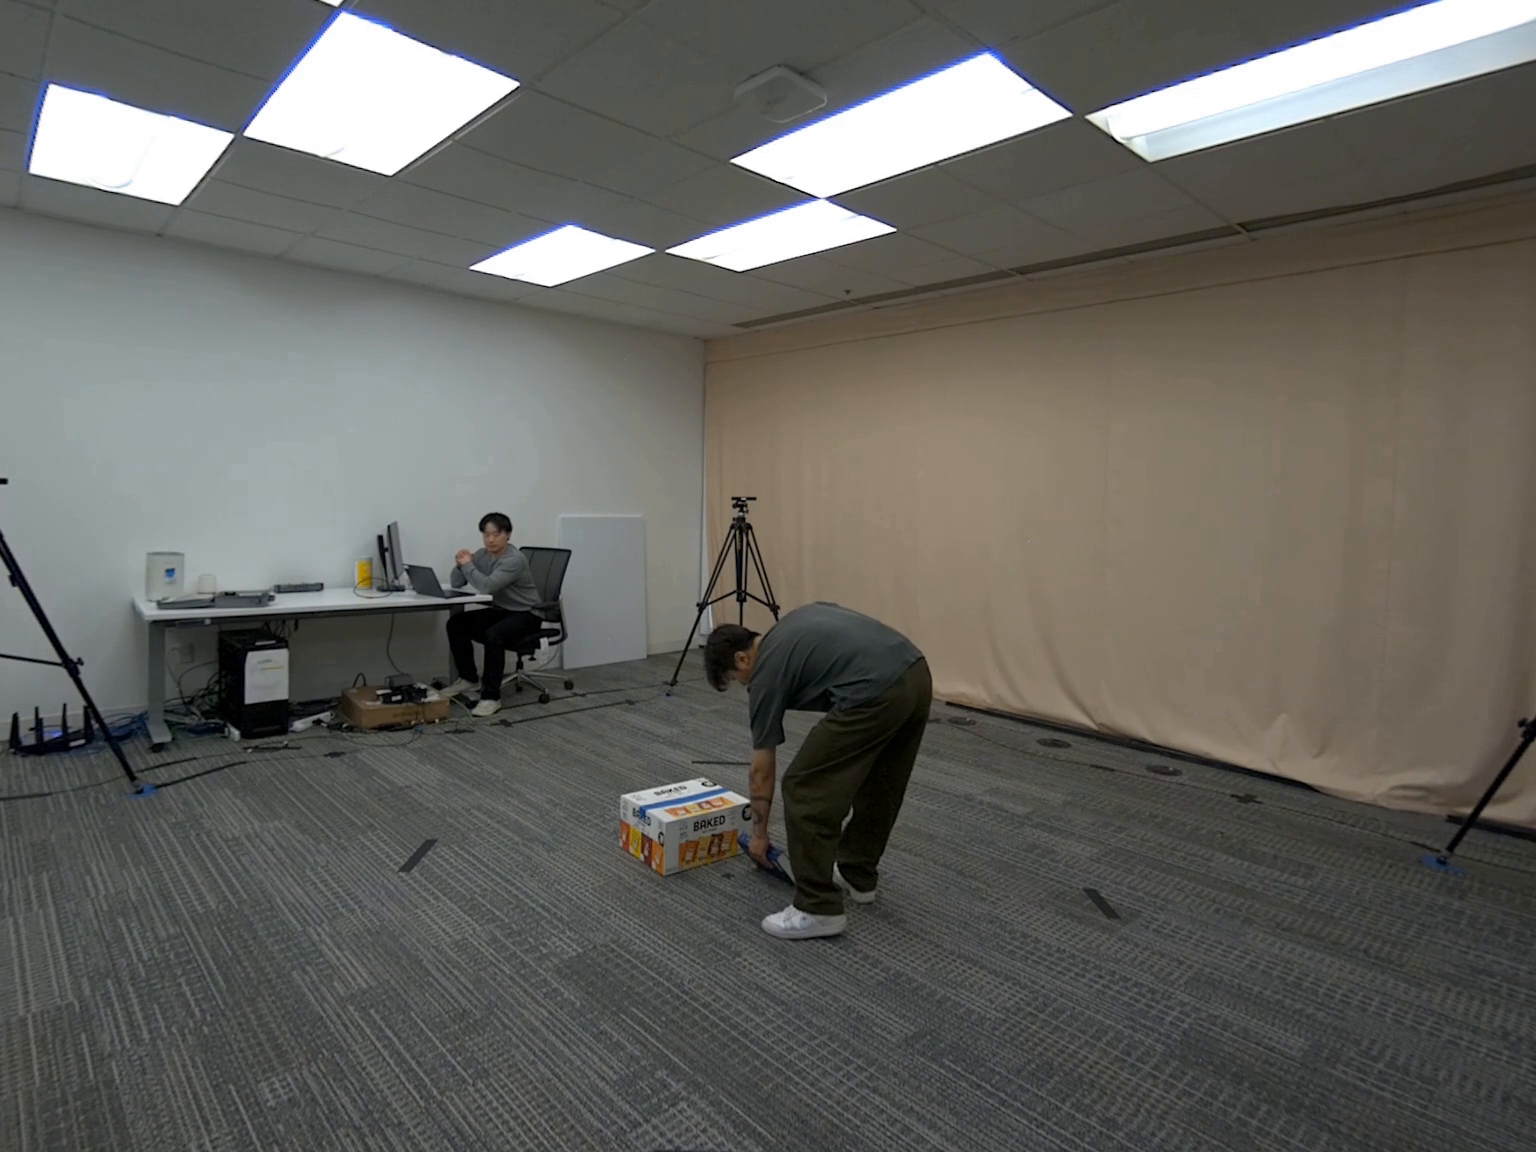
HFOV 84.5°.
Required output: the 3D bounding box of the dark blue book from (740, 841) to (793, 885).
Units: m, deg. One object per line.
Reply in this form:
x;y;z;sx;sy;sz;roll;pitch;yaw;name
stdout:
0.003;1.025;3.061;0.045;0.160;0.251;-45;25;-26;dark blue book
